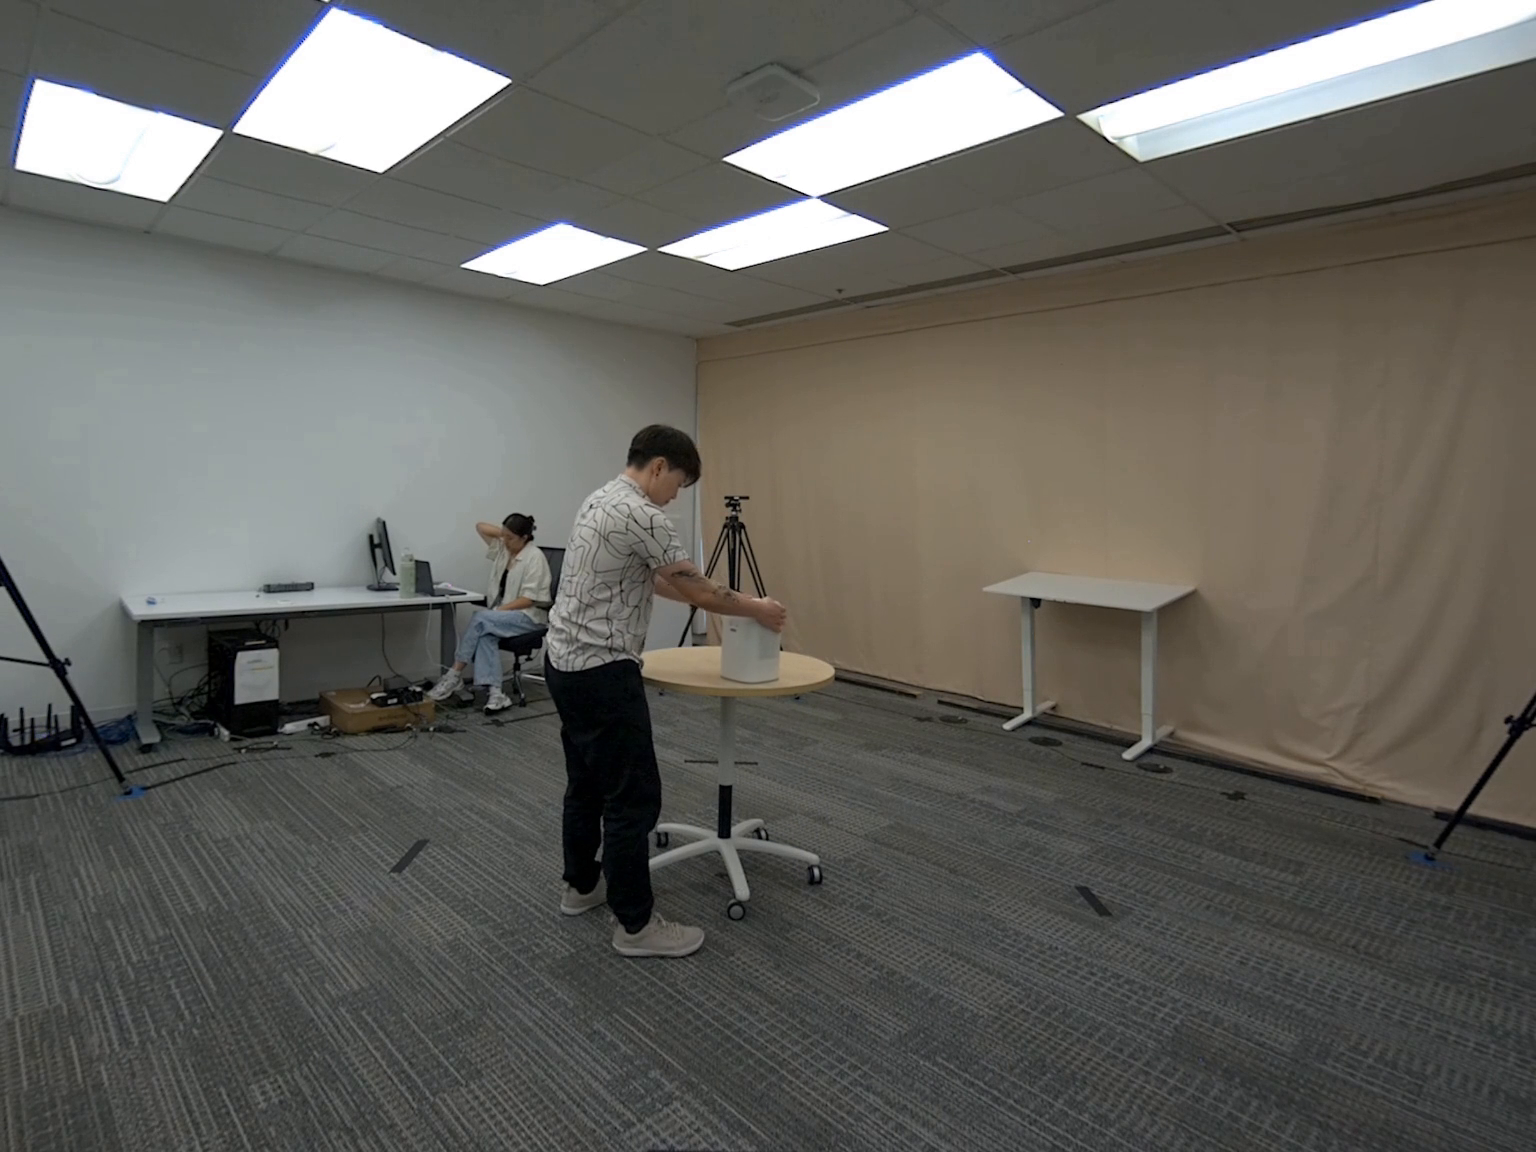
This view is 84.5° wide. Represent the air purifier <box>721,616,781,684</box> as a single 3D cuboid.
[{"bbox_3d":[-0.063,0.217,2.858,0.175,0.265,0.167,6,5,44],"label":"air purifier"}]
